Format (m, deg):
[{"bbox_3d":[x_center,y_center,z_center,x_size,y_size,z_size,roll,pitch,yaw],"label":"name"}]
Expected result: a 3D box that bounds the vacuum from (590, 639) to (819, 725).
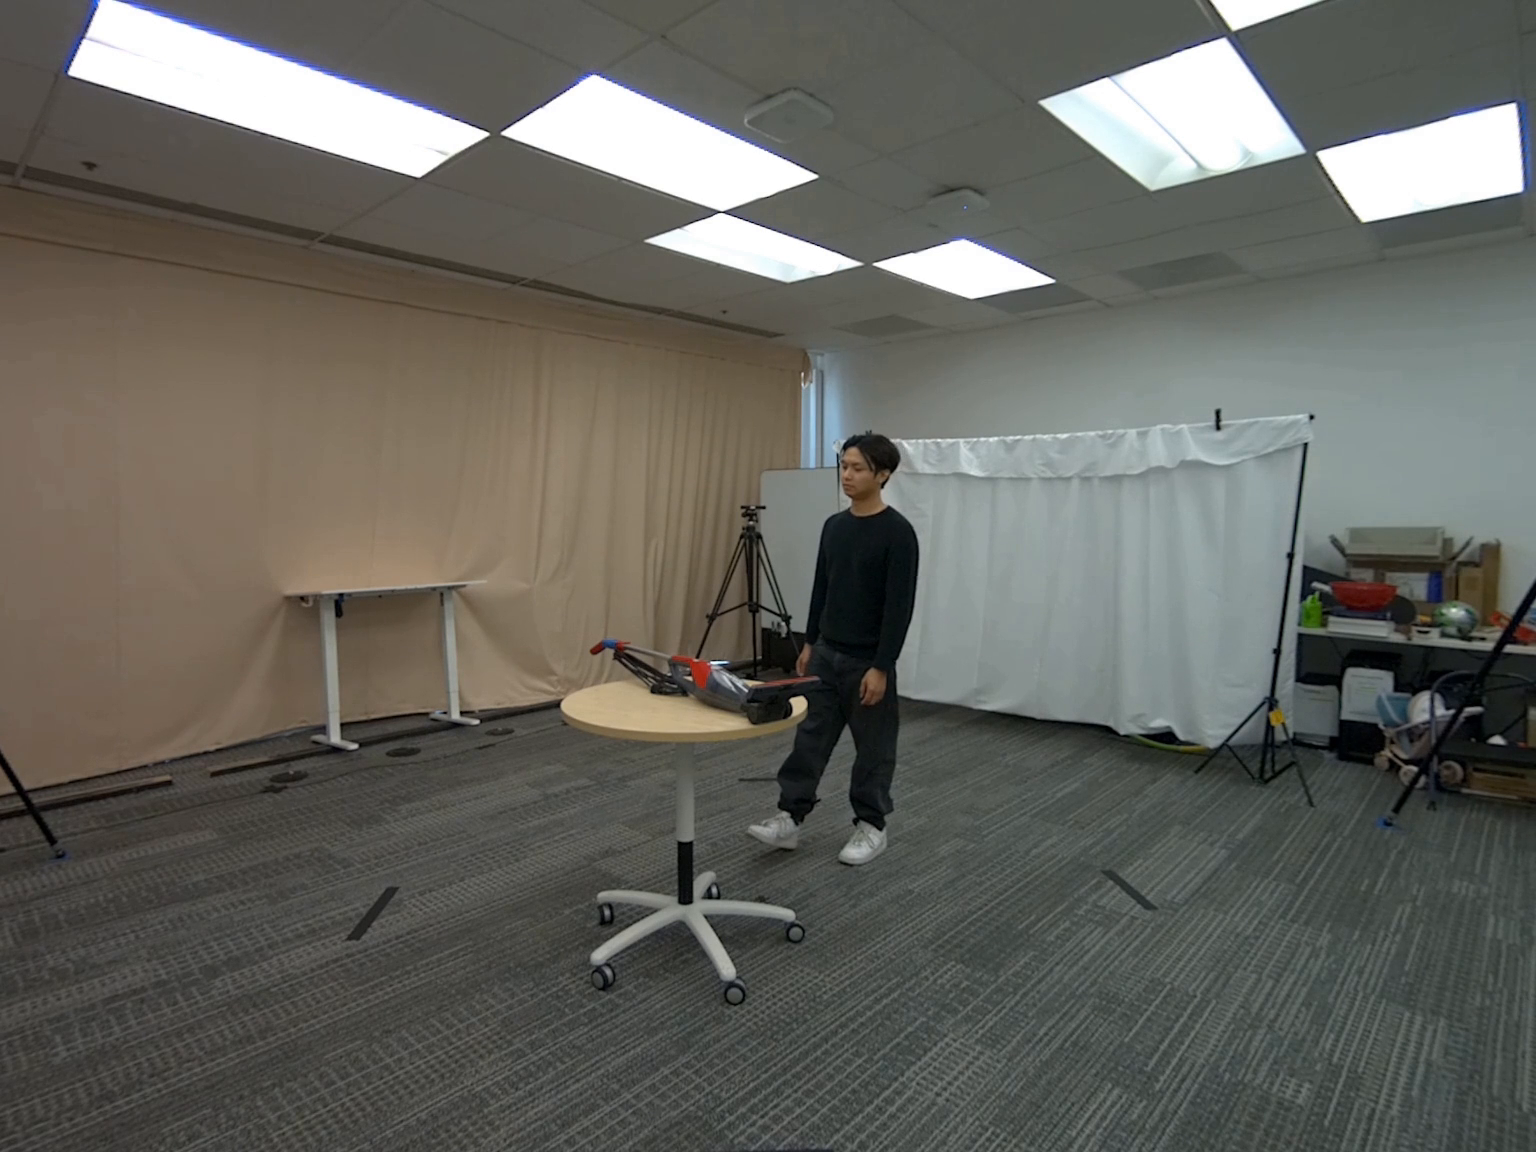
[{"bbox_3d":[-0.305,0.328,2.752,0.245,0.144,1.084,-2,5,-39],"label":"vacuum"}]
